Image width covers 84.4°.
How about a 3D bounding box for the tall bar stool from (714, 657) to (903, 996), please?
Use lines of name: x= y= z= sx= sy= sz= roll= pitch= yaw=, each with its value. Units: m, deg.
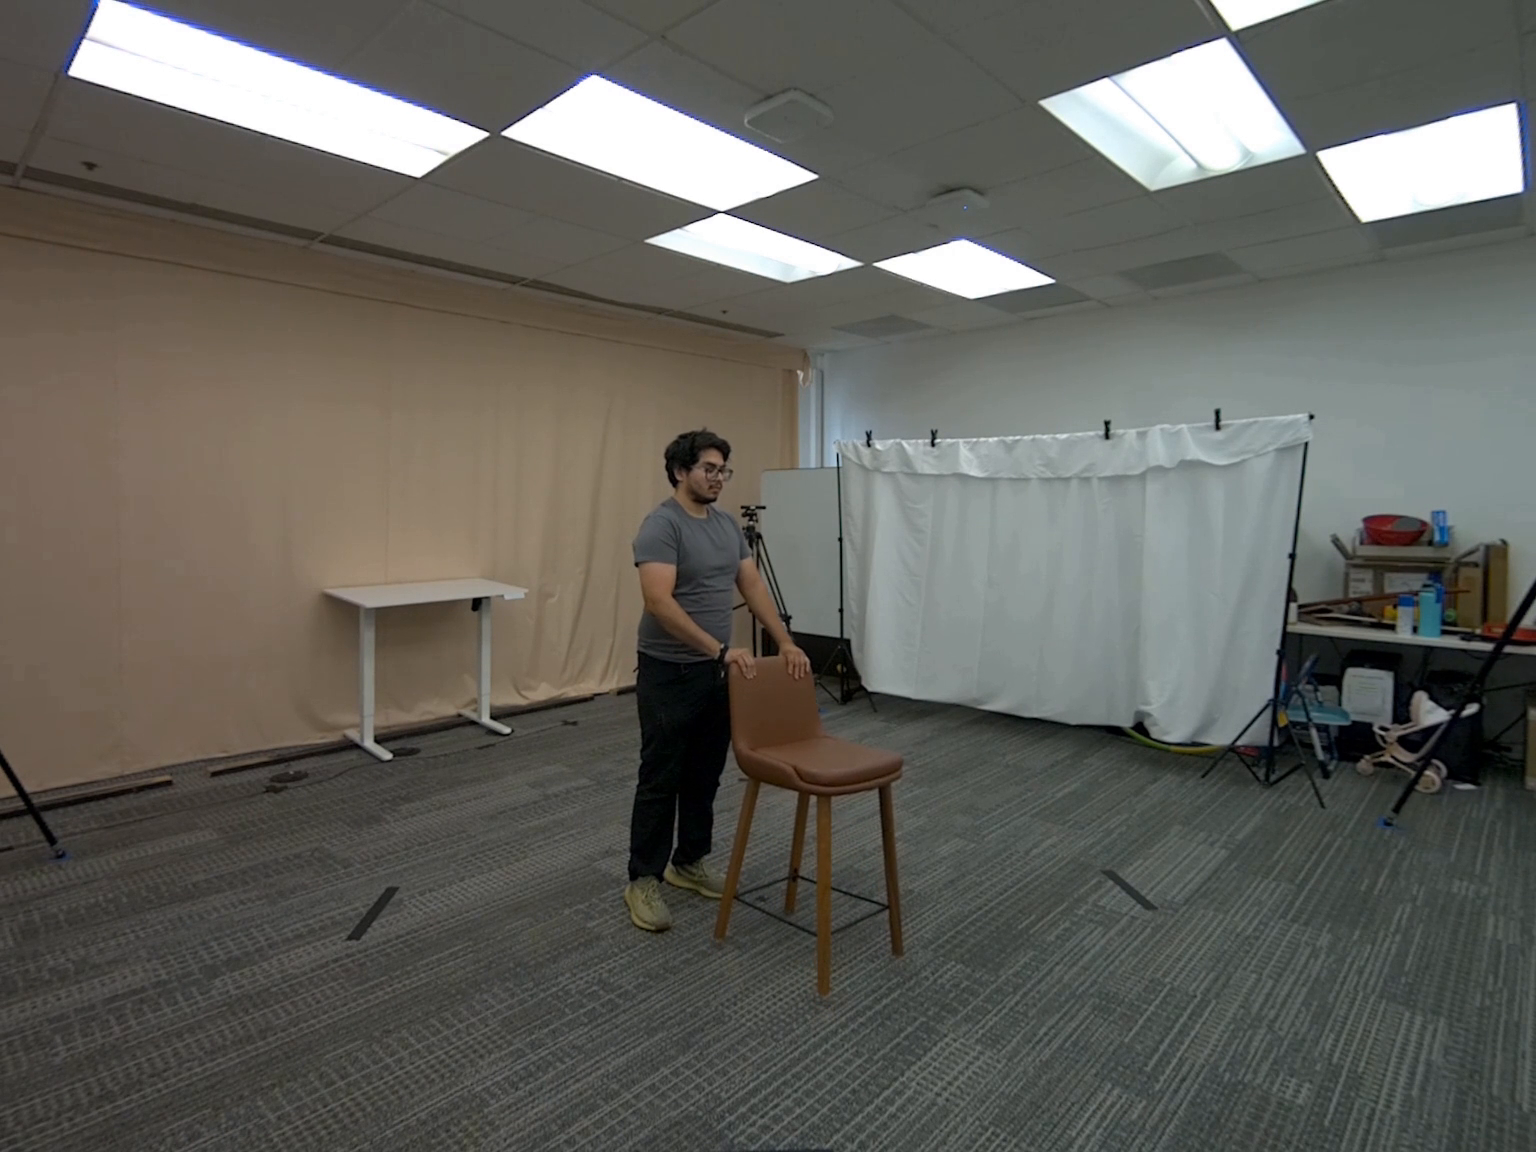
tall bar stool: x=0.141 y=0.722 z=2.635 sx=0.483 sy=0.891 sz=0.441 roll=0 pitch=-2 yaw=43
